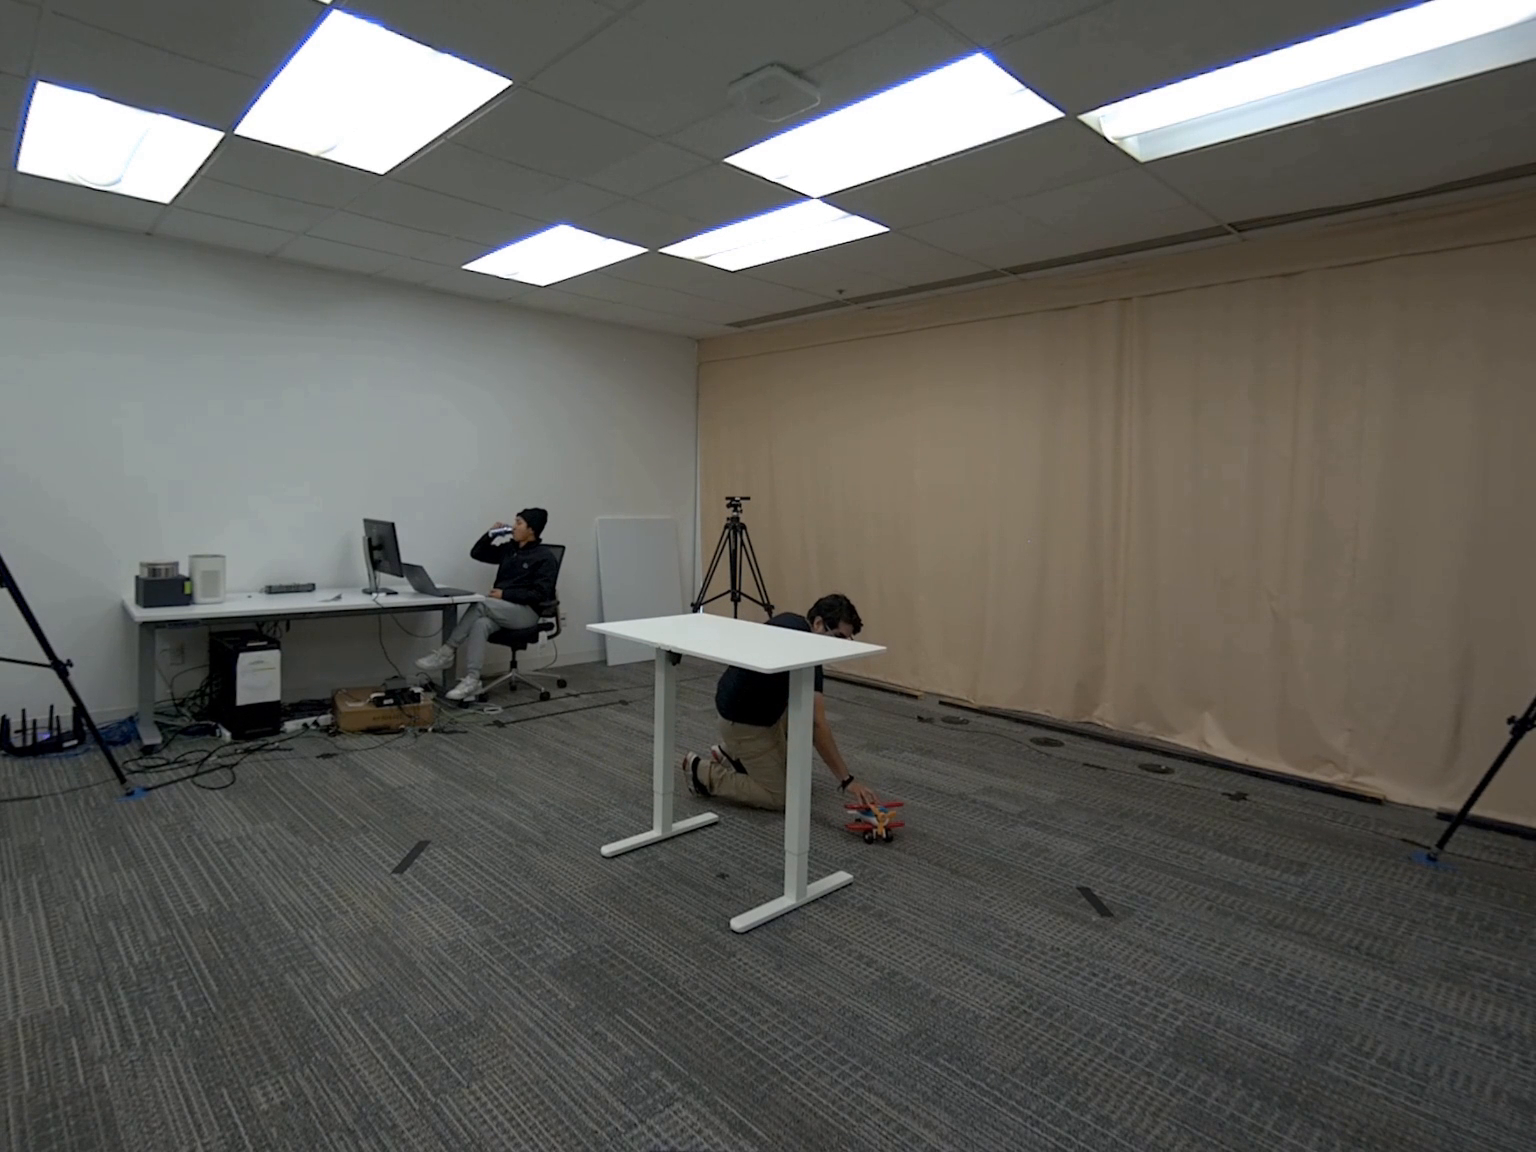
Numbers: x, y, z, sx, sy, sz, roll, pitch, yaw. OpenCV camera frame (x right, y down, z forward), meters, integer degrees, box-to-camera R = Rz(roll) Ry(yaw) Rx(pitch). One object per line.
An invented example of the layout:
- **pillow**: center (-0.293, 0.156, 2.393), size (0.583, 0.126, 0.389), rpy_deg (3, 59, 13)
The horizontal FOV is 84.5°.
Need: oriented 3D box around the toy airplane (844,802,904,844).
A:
- **toy airplane**: center (0.405, 1.008, 3.519), size (0.245, 0.156, 0.266), rpy_deg (-1, 6, -42)
